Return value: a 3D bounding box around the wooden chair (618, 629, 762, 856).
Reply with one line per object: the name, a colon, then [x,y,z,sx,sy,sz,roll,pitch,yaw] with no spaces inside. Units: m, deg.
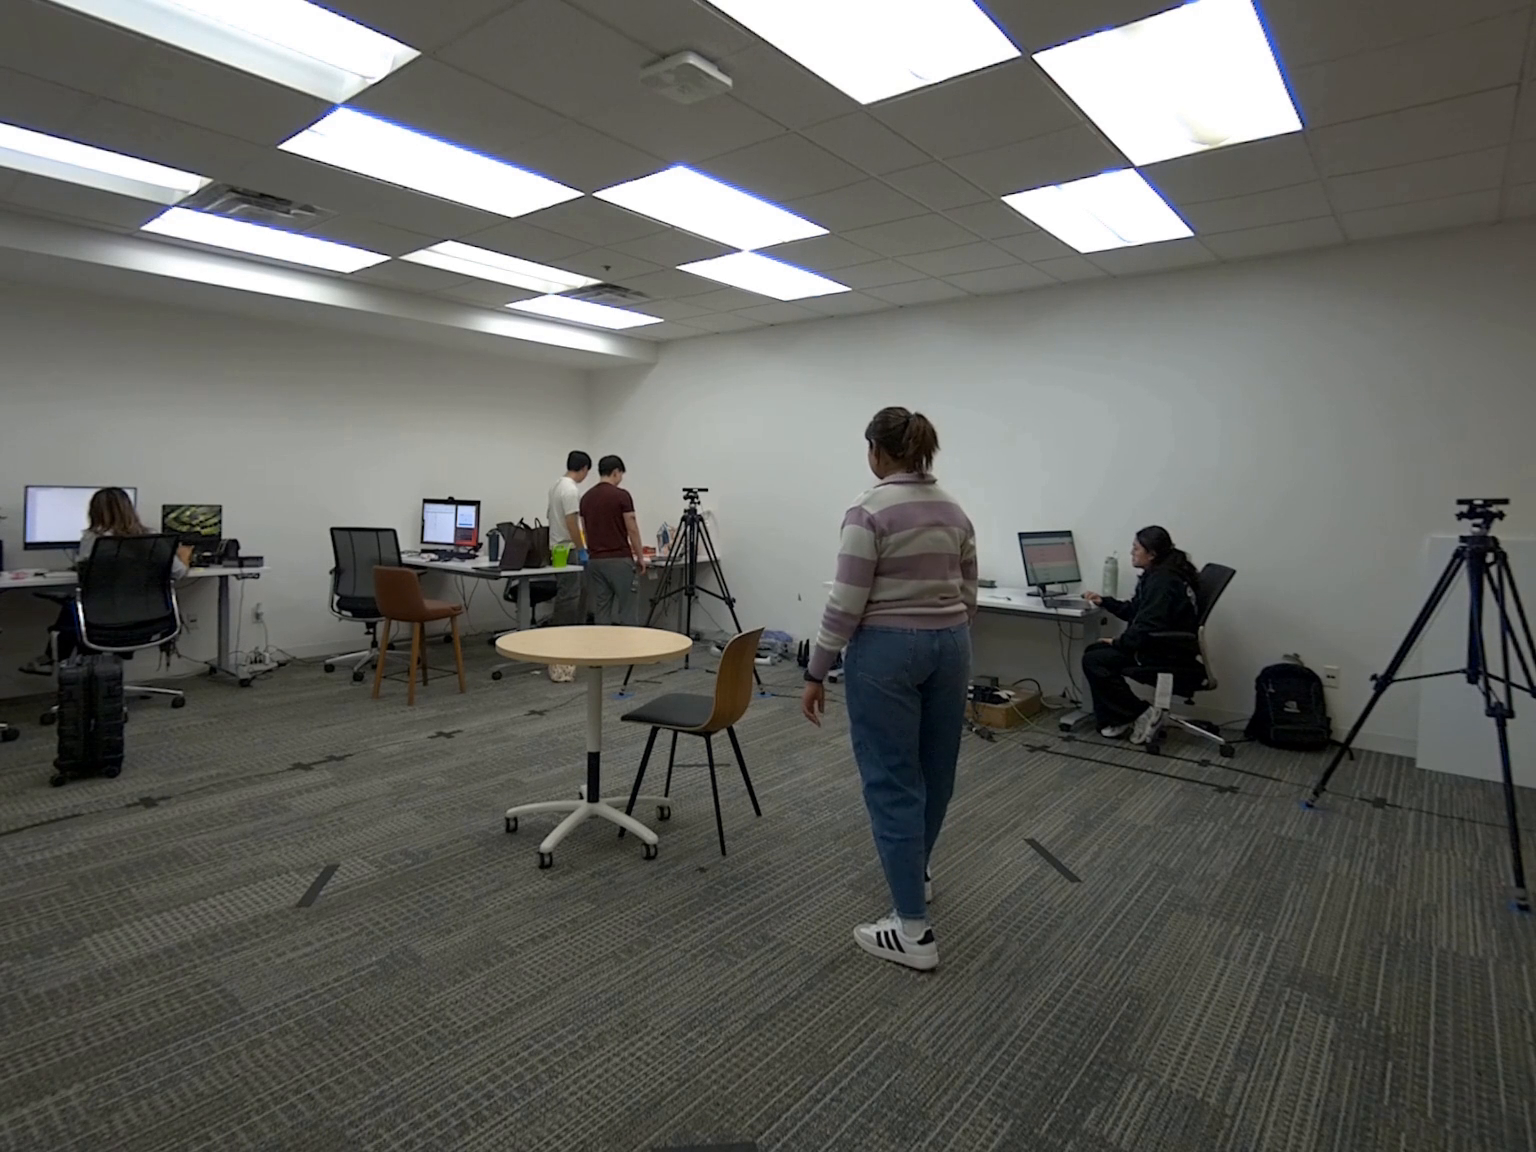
wooden chair: [-0.321,0.607,3.480,0.535,0.874,0.469,6,5,20]
